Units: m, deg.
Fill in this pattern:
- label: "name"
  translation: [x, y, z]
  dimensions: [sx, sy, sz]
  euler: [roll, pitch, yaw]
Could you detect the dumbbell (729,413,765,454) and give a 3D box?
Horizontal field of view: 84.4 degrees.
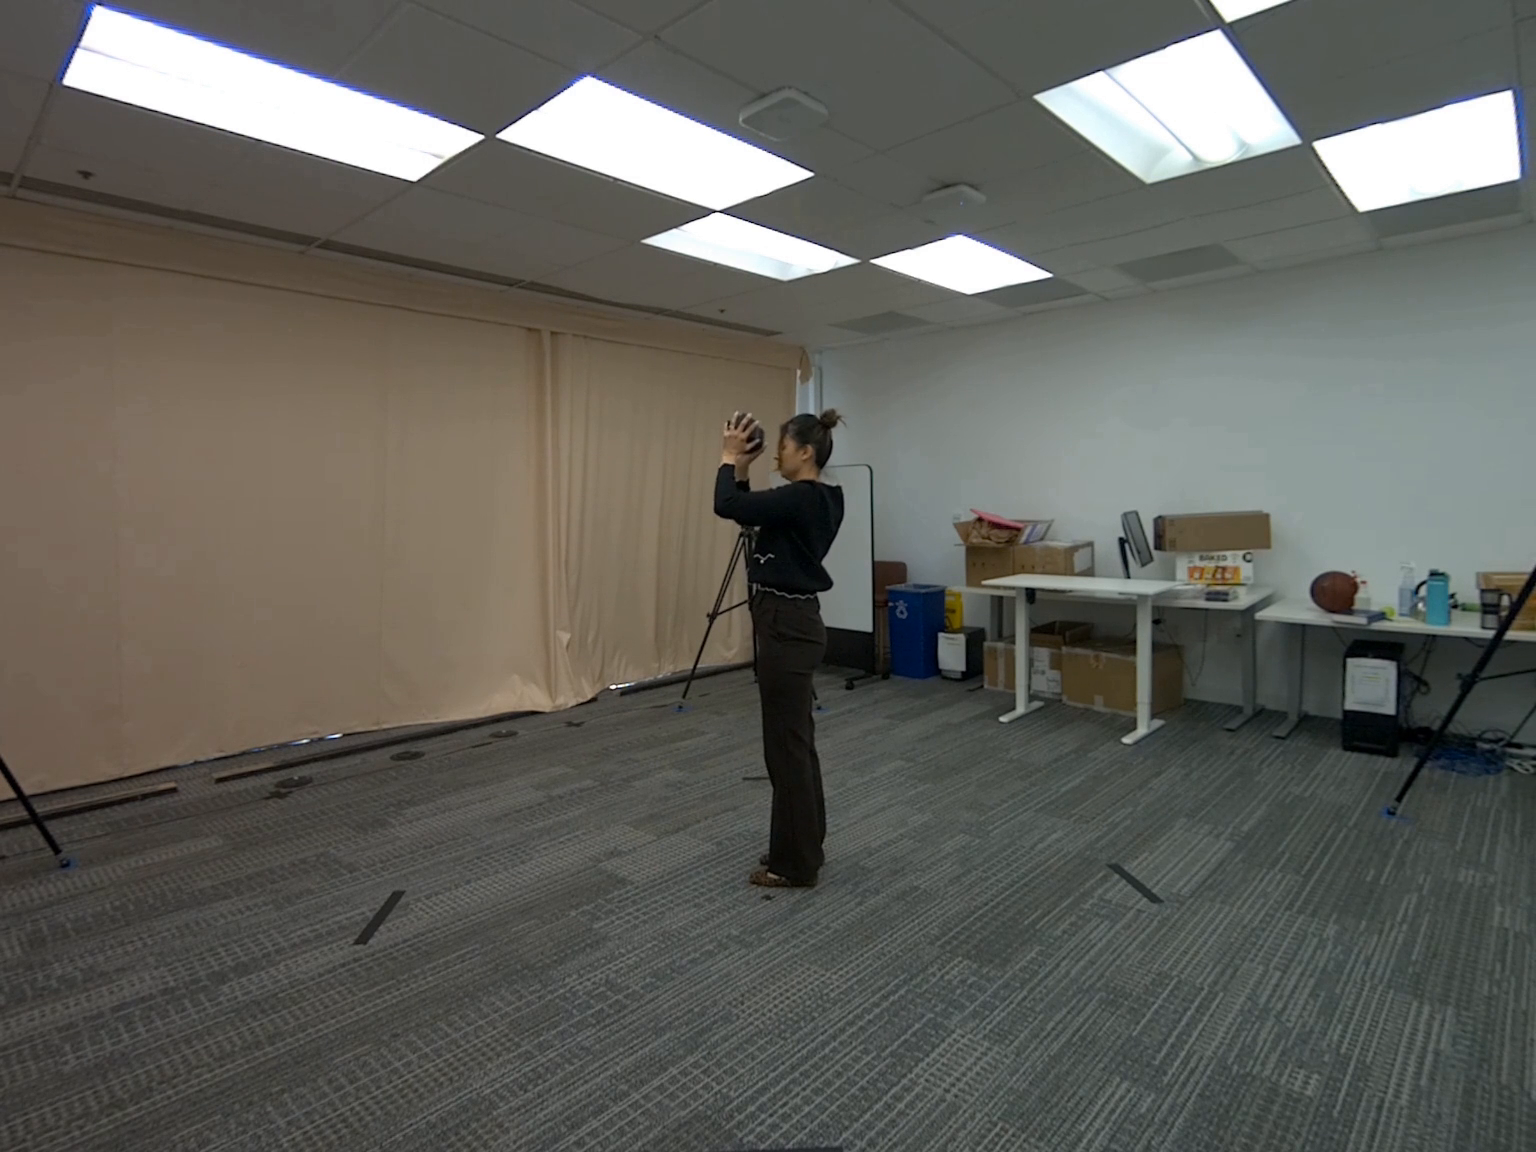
- label: "dumbbell"
  translation: [-0.079, -0.520, 3.144]
  dimensions: [0.124, 0.109, 0.291]
  euler: [-27, 0, 11]
